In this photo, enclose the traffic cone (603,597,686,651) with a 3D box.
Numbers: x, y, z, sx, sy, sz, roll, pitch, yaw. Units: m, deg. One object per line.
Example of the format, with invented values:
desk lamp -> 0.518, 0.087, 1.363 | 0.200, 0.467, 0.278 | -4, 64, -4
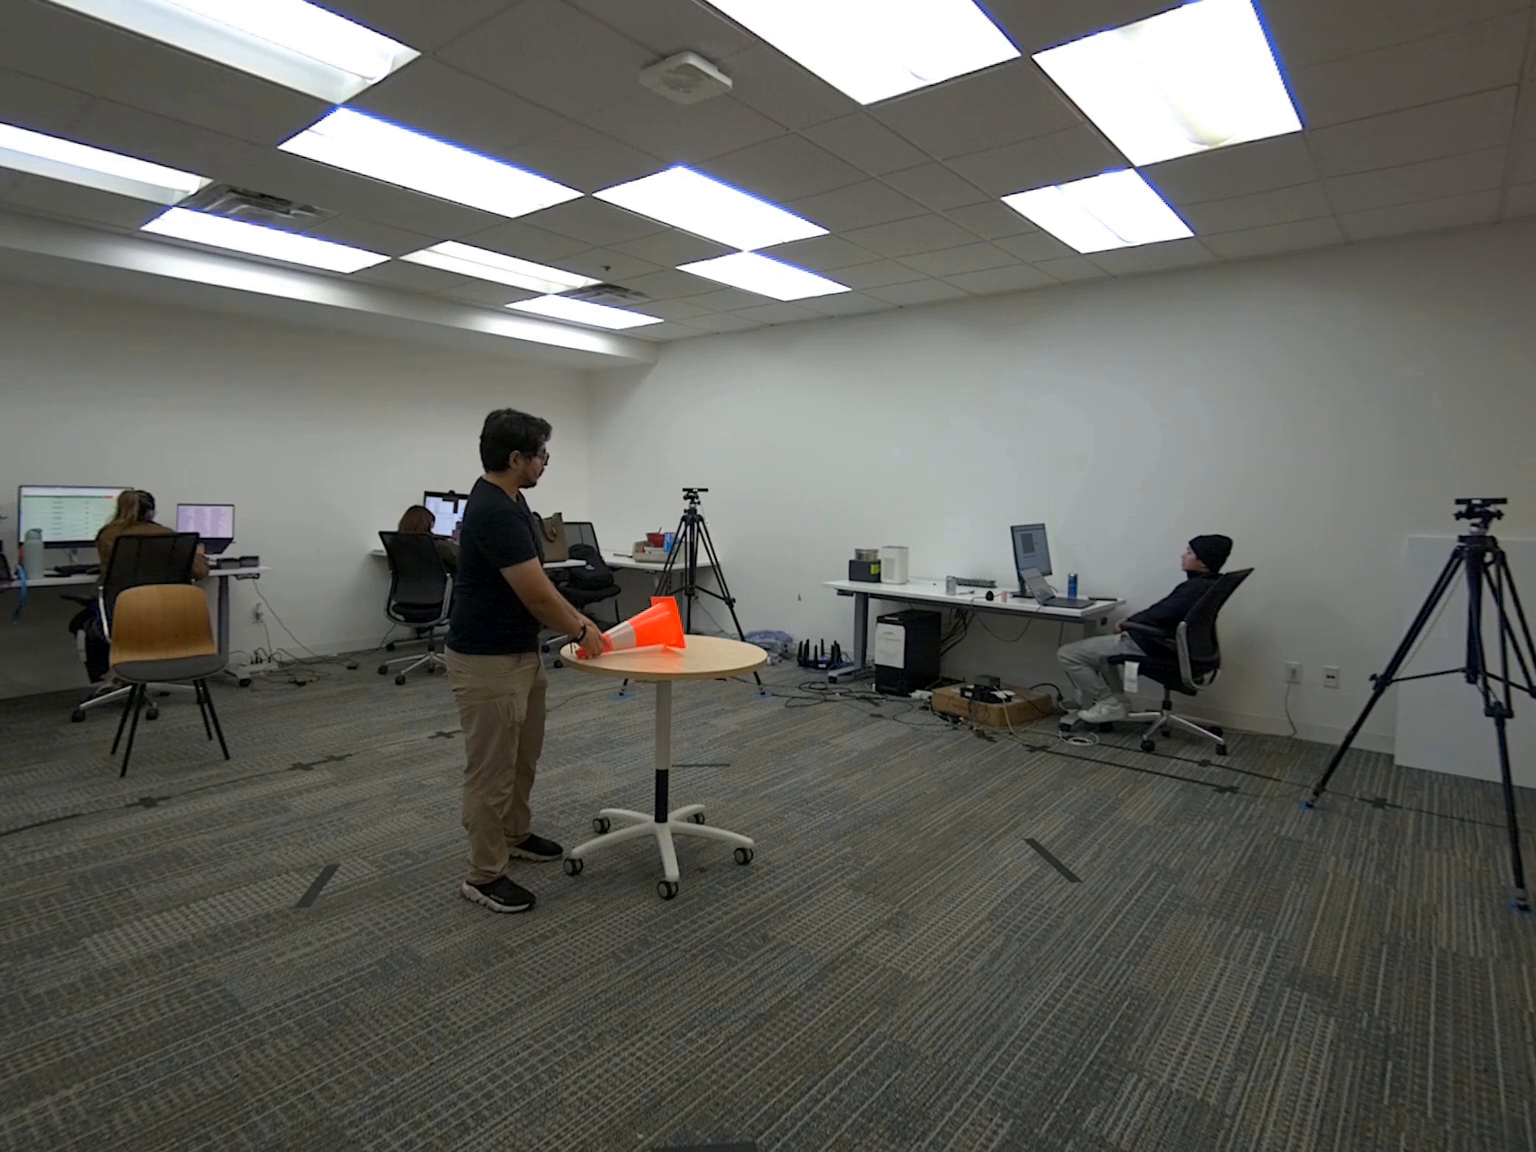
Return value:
traffic cone -> -0.537, 0.226, 3.095 | 0.377, 0.204, 0.208 | -20, 7, -30
